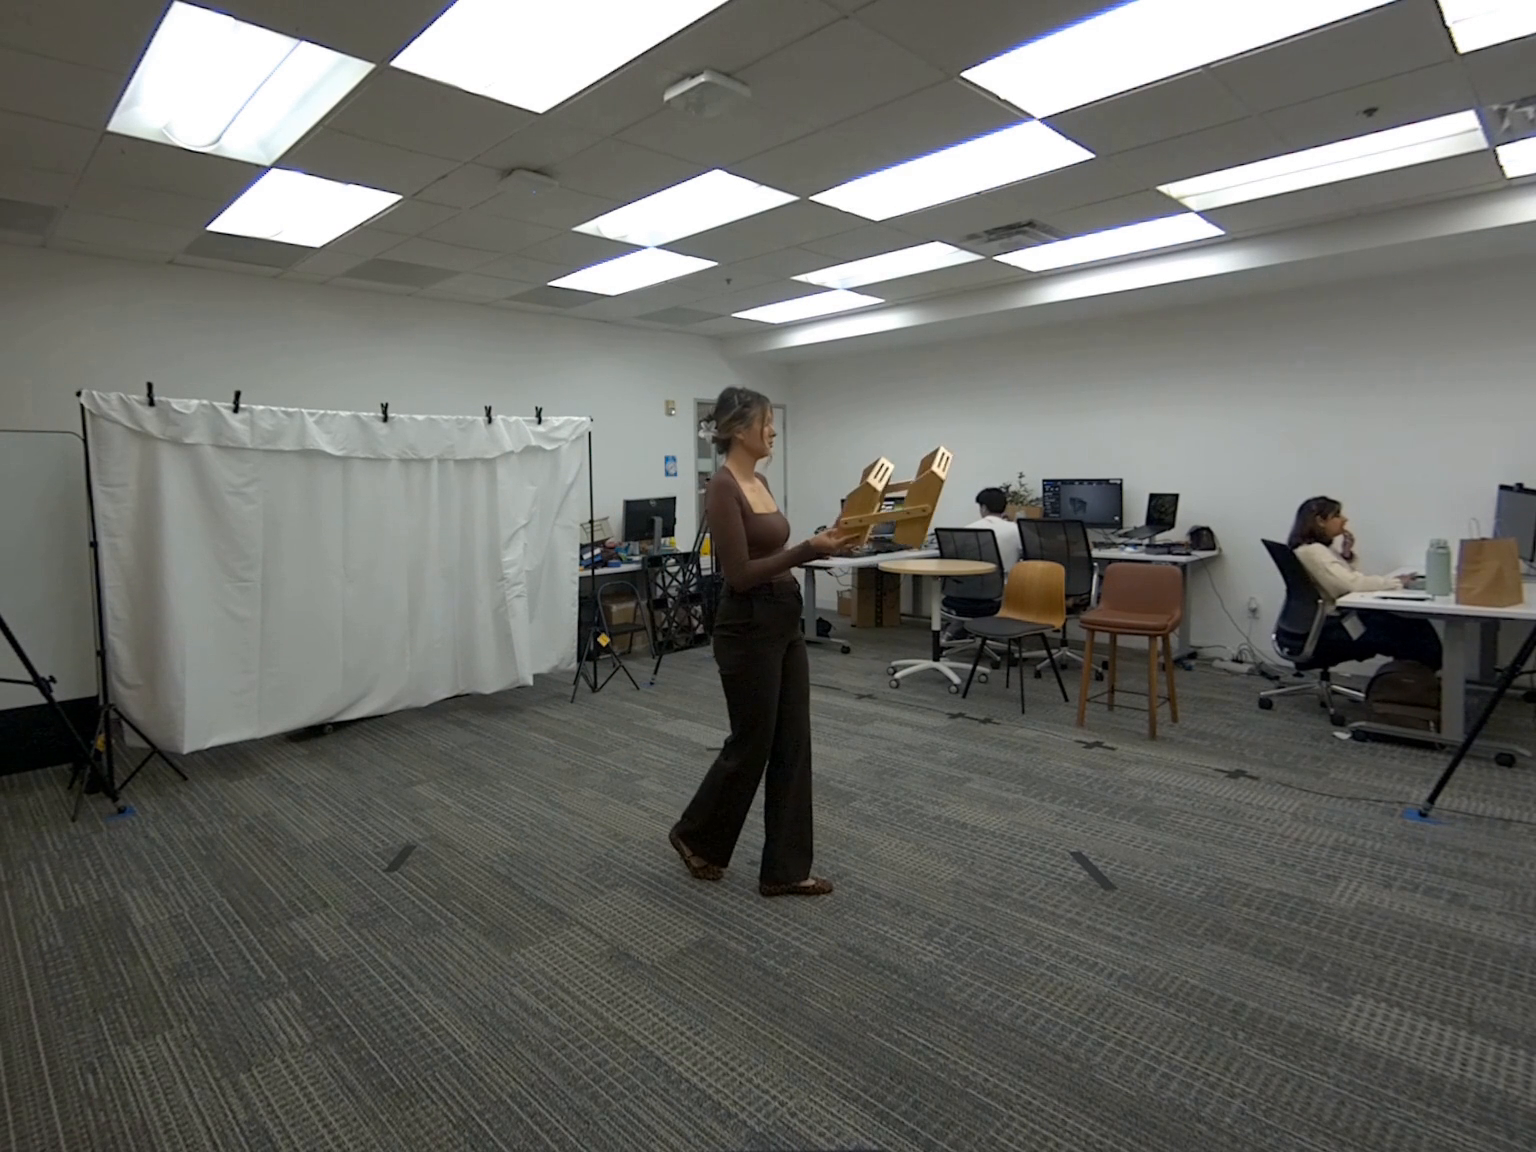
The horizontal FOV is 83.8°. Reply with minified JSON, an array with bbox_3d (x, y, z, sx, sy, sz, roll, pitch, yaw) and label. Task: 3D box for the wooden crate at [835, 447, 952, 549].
[{"bbox_3d":[0.392,-0.259,2.687,0.277,0.297,0.325,18,25,11],"label":"wooden crate"}]
